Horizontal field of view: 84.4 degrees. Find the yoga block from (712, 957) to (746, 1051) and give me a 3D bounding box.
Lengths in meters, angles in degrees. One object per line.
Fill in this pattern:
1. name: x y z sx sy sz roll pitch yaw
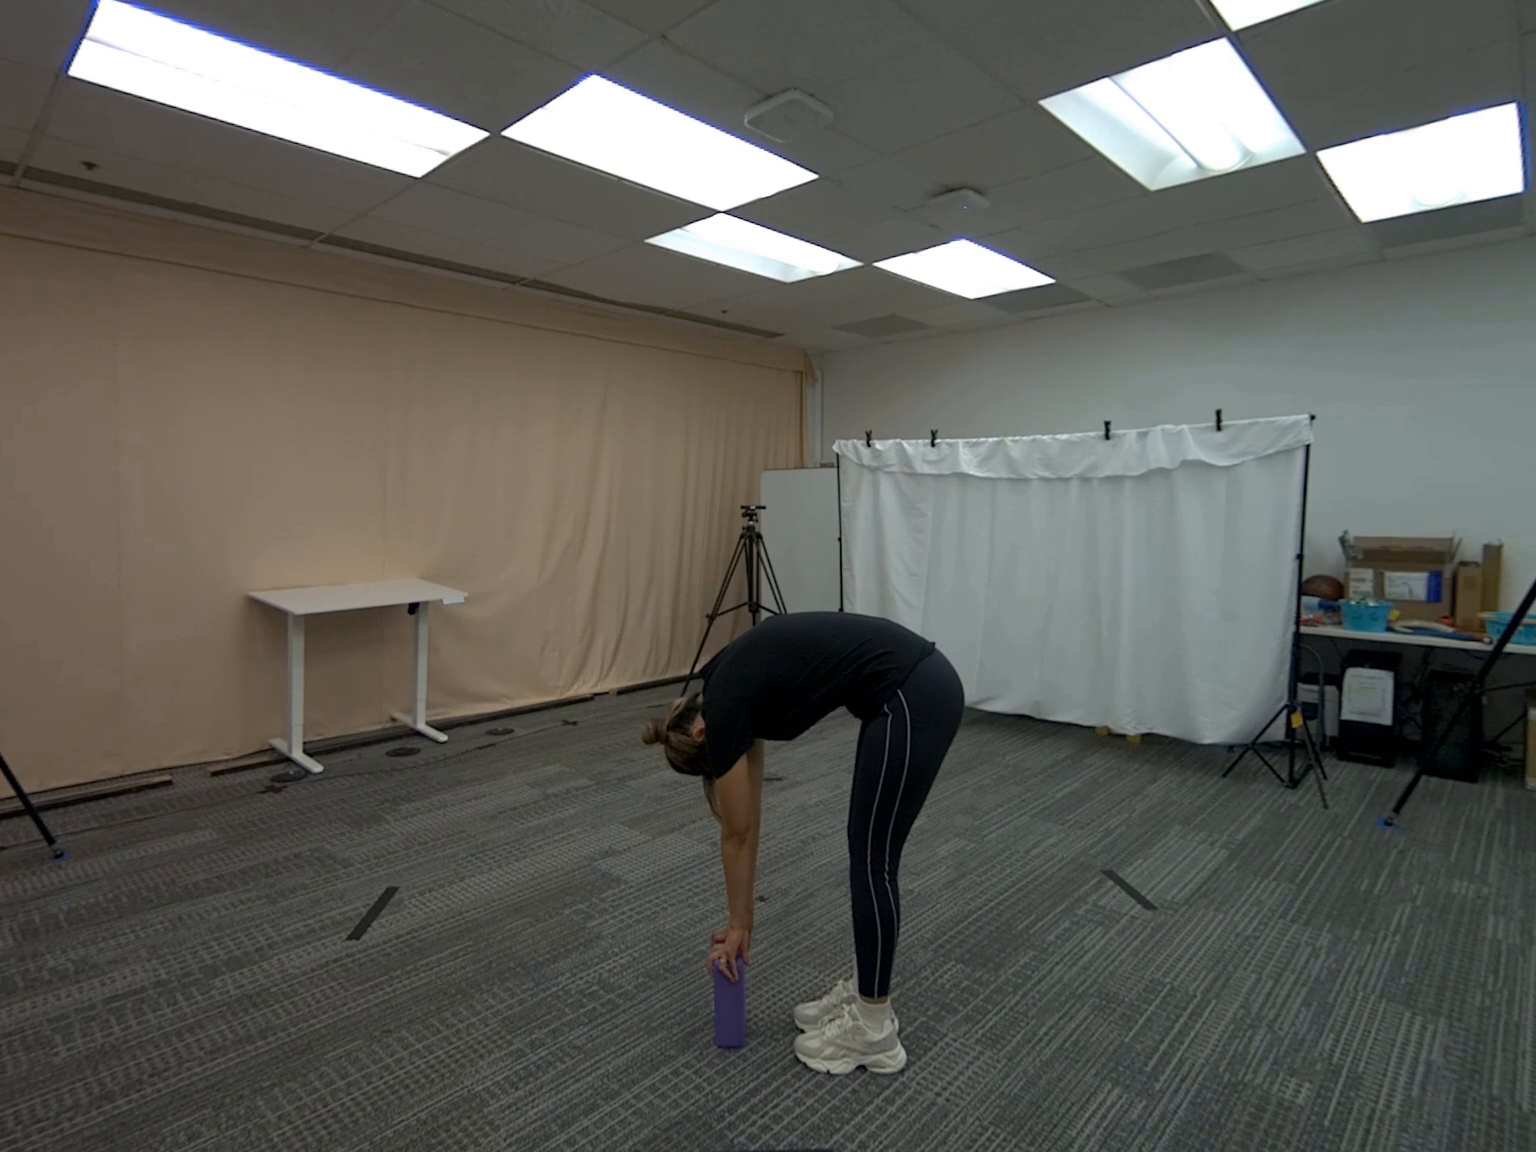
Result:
1. yoga block: -0.098 1.101 2.223 0.076 0.229 0.149 1 2 -1
